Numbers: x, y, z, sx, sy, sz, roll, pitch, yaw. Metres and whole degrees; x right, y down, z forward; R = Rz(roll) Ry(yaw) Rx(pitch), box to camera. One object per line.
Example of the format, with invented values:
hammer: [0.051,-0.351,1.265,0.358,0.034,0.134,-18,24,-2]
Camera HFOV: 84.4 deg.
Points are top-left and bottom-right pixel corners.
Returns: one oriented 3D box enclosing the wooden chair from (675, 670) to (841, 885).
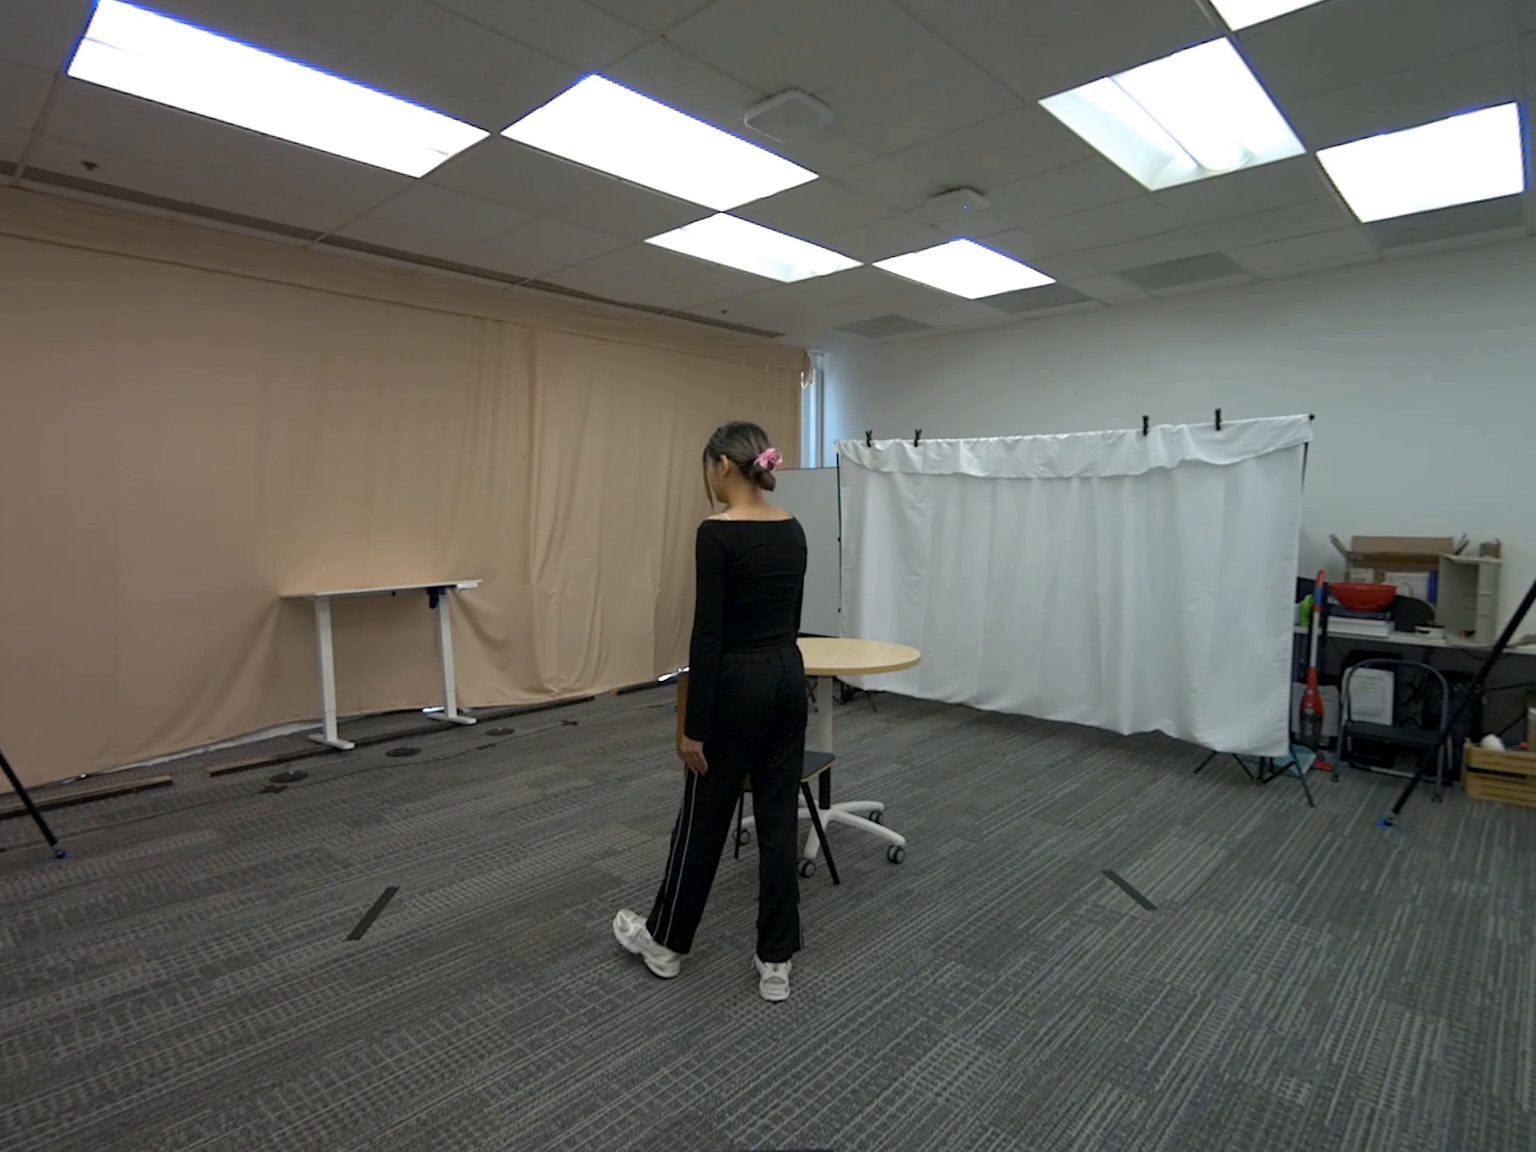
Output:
wooden chair: [-0.040,0.713,3.001,0.492,0.873,0.510,2,8,32]
